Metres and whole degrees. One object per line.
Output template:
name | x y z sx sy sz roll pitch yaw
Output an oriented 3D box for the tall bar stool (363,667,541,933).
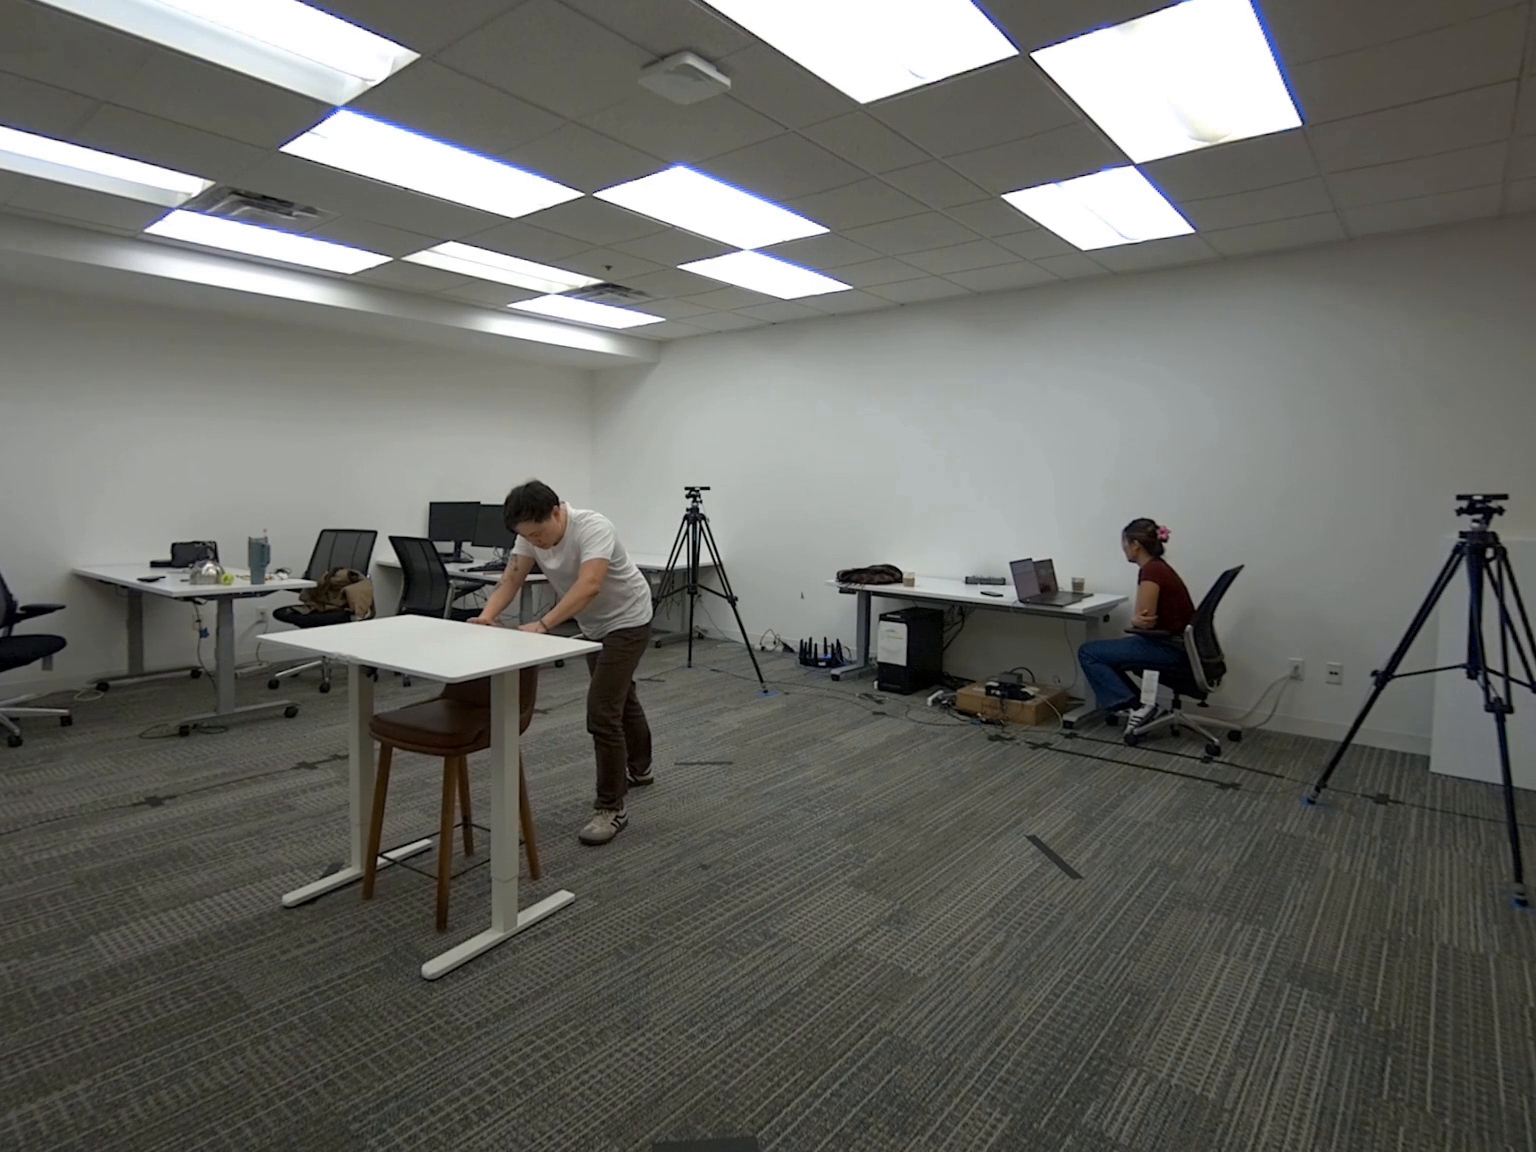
tall bar stool | -1.076 0.640 2.913 0.470 0.888 0.454 3 2 32
